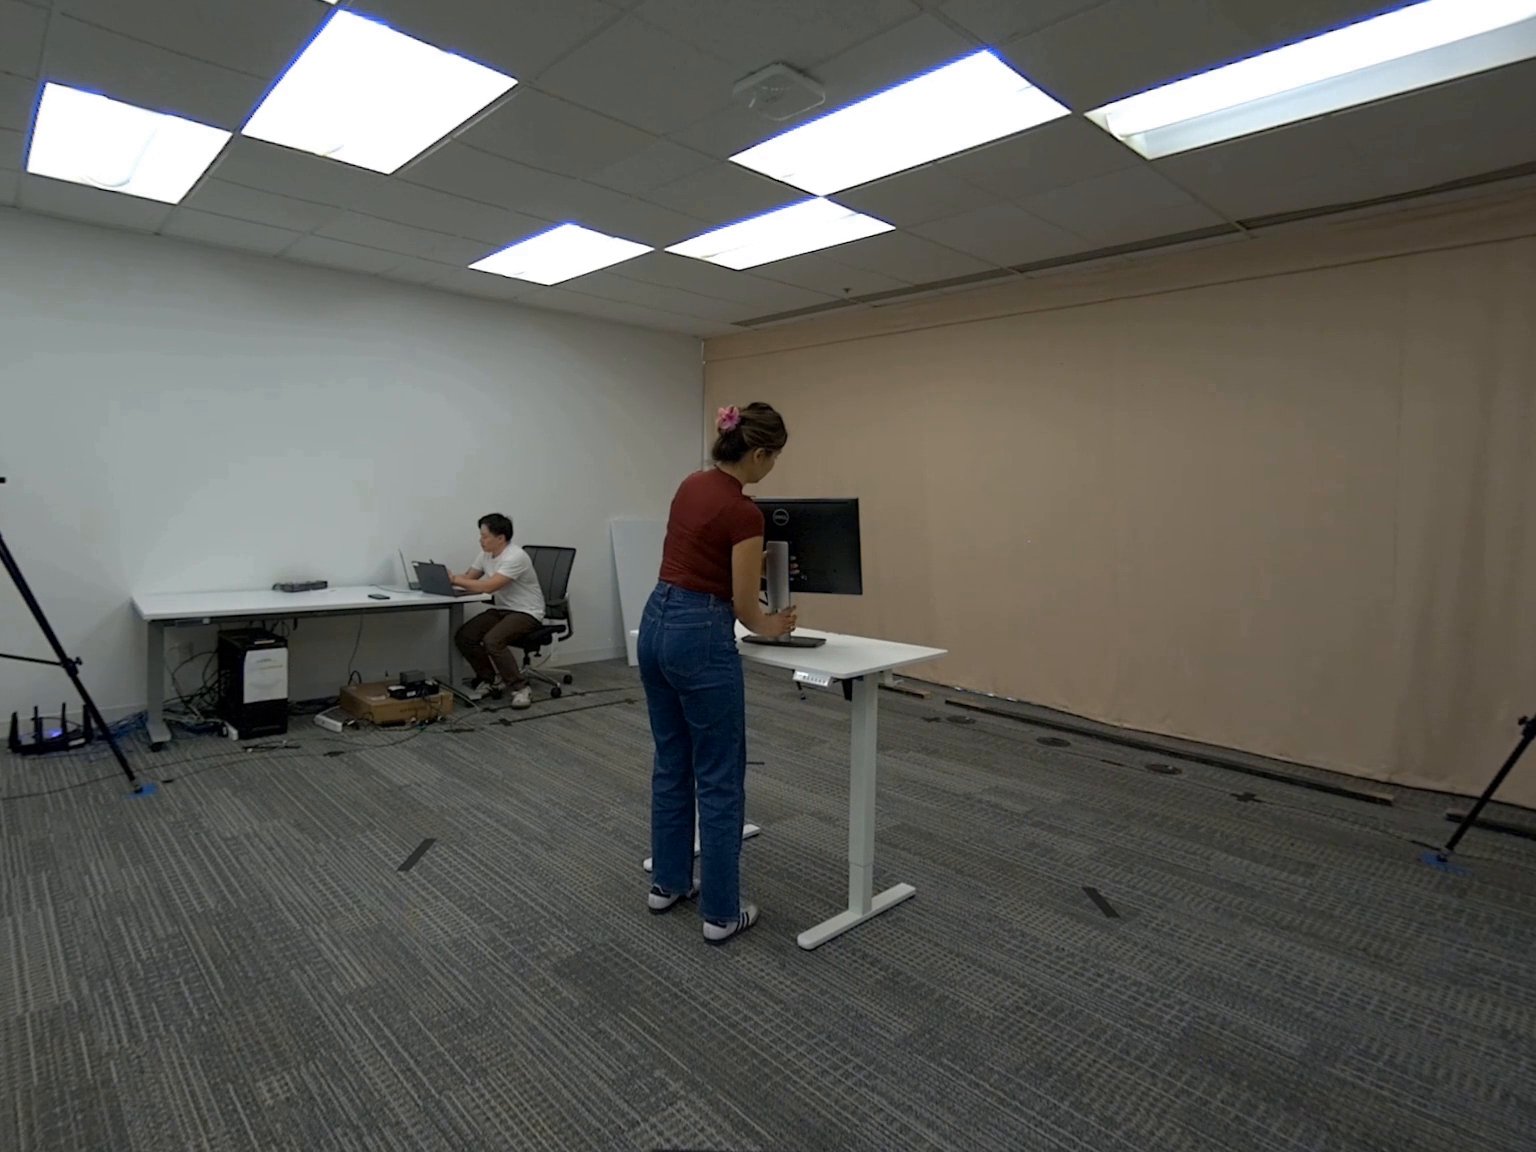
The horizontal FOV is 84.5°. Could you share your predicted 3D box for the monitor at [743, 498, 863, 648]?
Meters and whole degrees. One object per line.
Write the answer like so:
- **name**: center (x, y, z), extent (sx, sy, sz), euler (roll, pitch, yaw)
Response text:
- **monitor**: center (0.043, -0.016, 2.964), extent (0.546, 0.521, 0.185), euler (1, 4, 17)
